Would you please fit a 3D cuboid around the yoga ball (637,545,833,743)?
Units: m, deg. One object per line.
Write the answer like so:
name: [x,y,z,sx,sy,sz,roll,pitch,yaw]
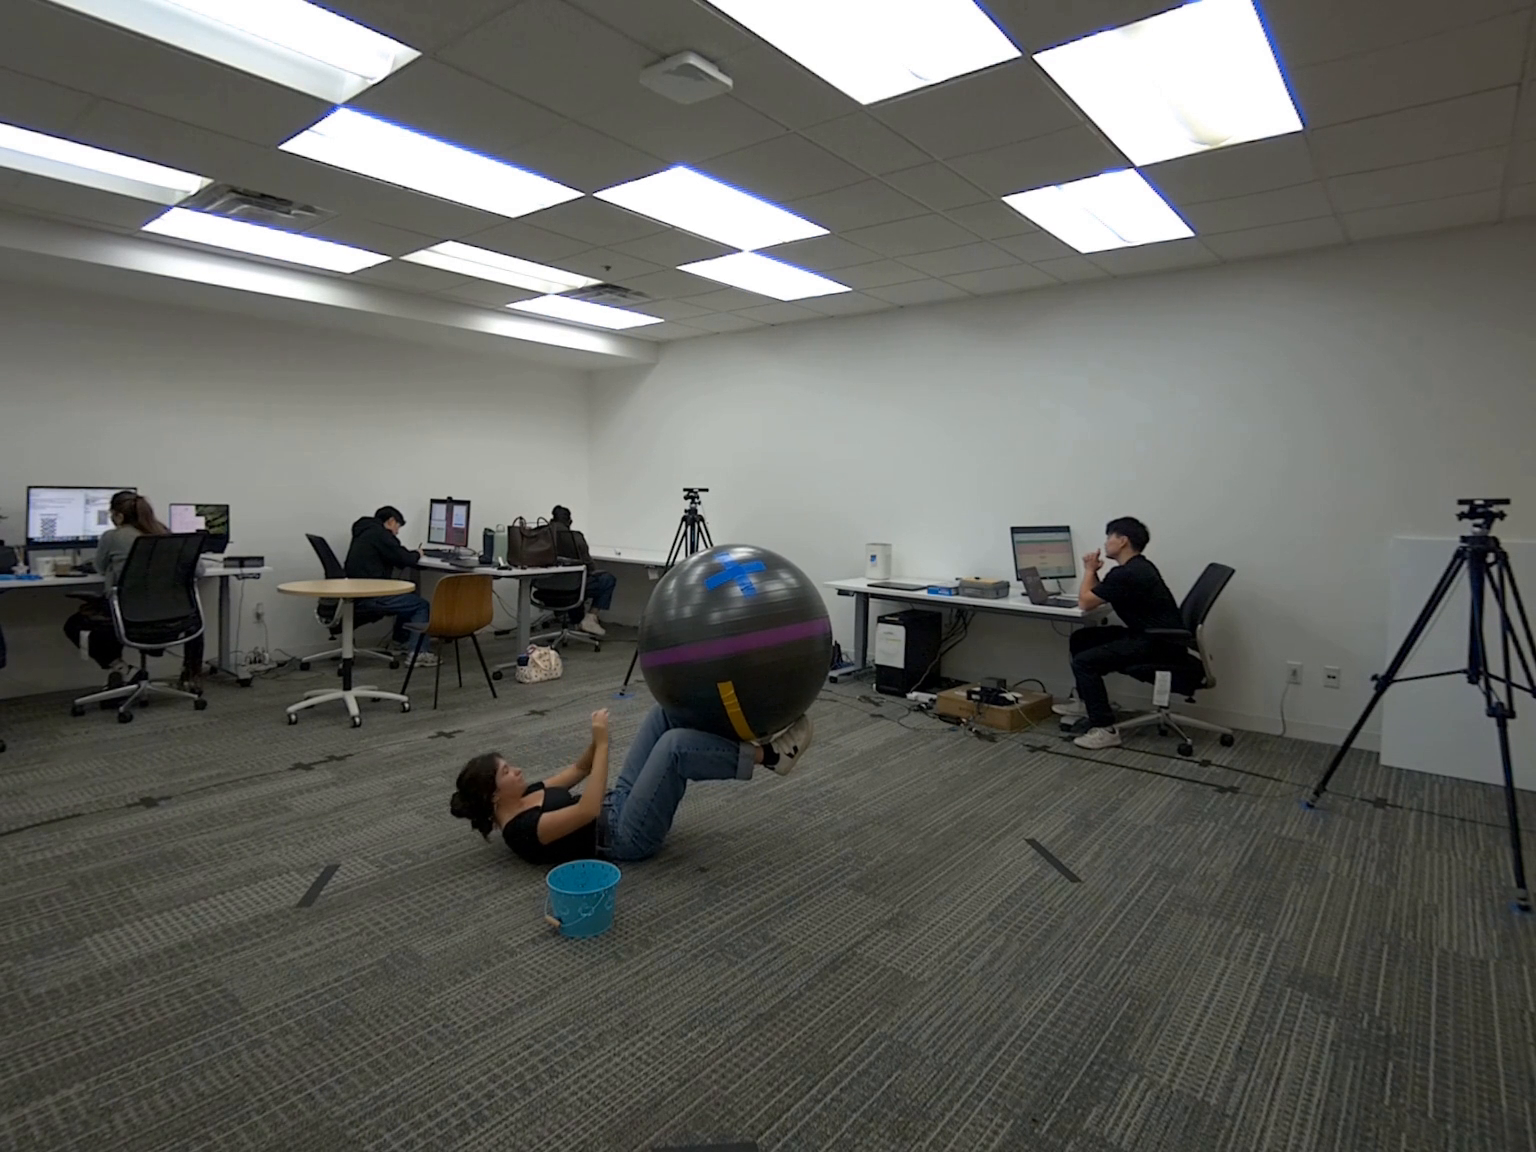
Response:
yoga ball: [-0.144,0.255,3.321,0.757,0.756,0.761,1,4,-2]
